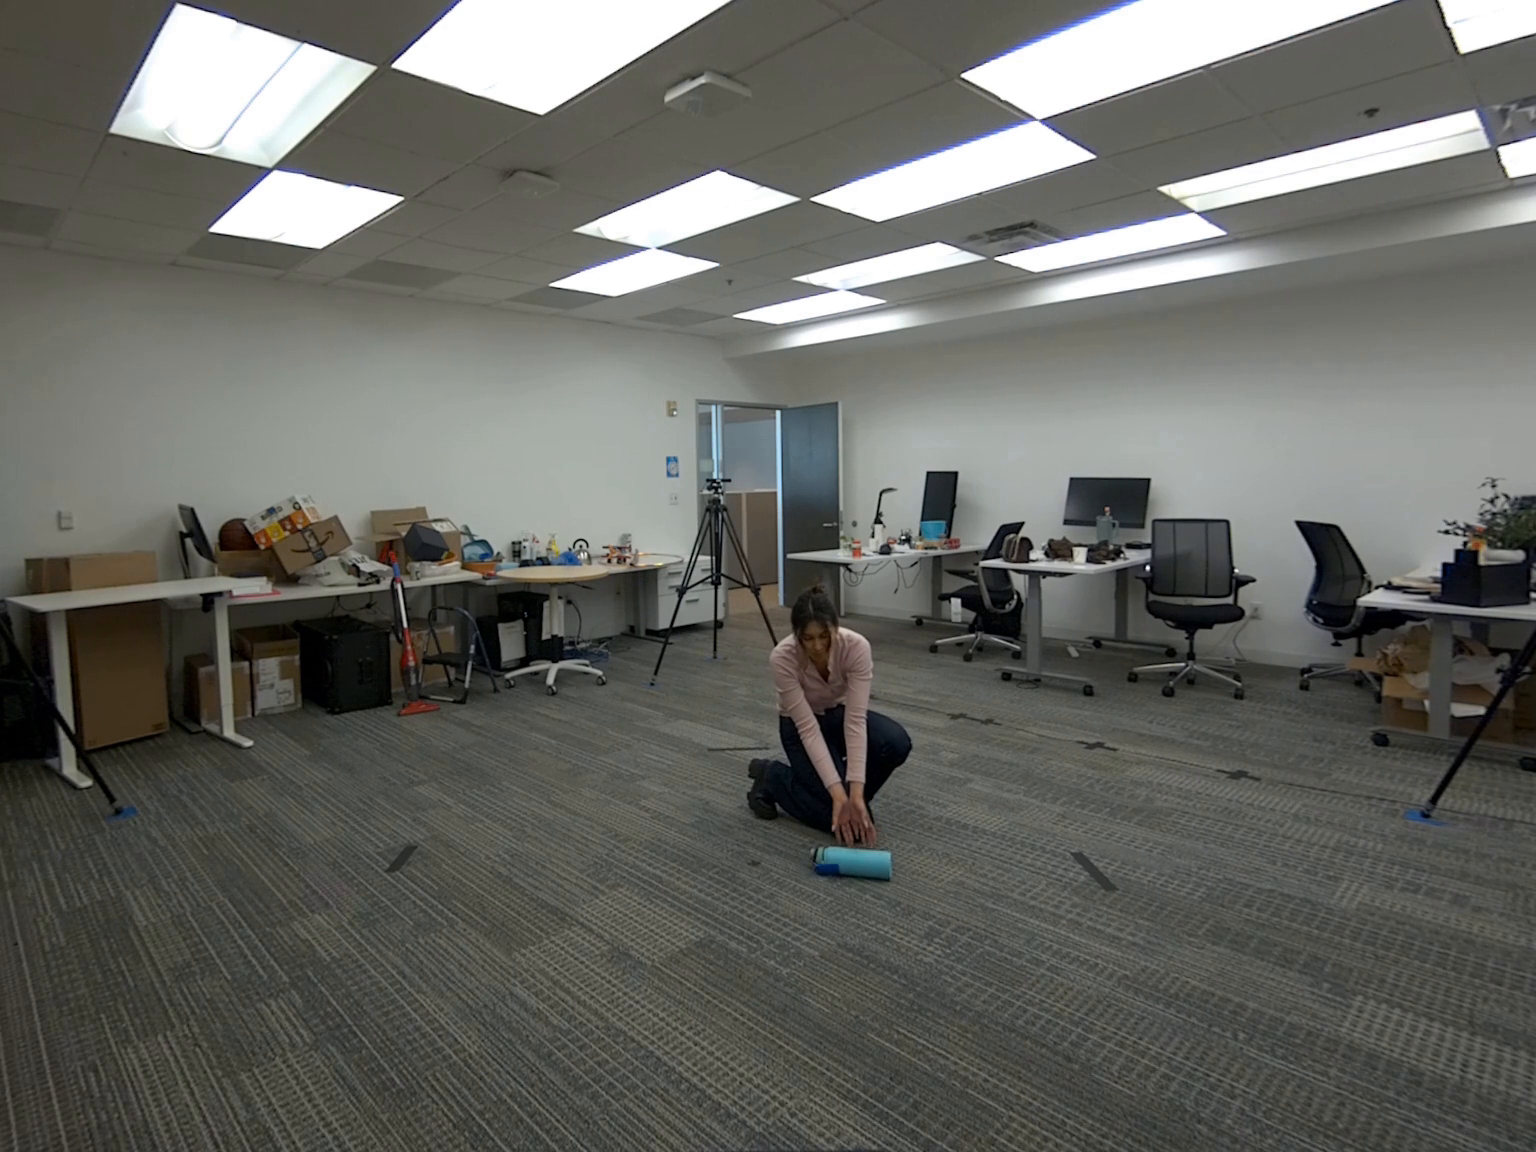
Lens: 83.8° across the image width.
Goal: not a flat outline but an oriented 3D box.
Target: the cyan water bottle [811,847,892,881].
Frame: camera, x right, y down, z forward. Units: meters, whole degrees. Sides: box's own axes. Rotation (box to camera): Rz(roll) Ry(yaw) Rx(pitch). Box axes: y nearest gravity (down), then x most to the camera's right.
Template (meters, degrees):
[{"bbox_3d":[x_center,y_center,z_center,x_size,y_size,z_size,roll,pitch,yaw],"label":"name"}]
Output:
[{"bbox_3d":[0.292,1.006,3.006,0.287,0.092,0.091,0,5,13],"label":"cyan water bottle"}]
